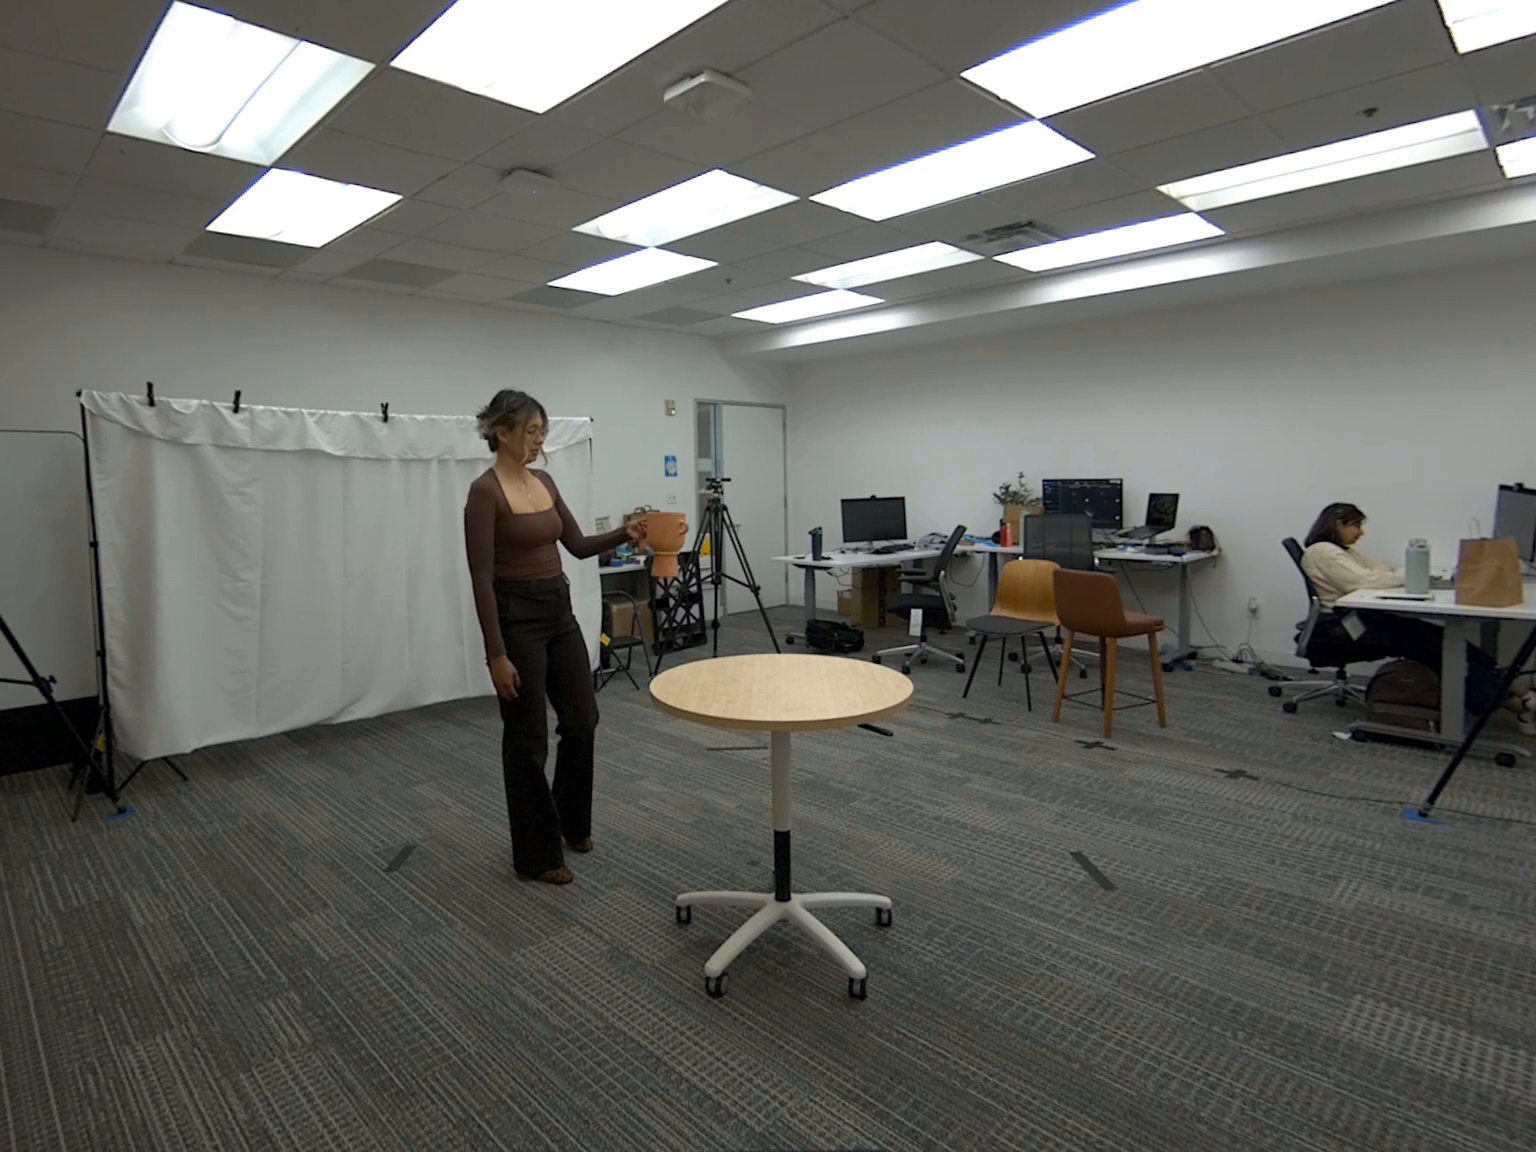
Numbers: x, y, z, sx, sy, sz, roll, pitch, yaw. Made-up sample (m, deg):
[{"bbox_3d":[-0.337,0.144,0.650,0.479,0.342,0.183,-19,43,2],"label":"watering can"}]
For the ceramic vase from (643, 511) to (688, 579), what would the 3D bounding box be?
[{"bbox_3d":[-0.372,-0.109,2.975,0.133,0.219,0.161,1,4,-16],"label":"ceramic vase"}]
